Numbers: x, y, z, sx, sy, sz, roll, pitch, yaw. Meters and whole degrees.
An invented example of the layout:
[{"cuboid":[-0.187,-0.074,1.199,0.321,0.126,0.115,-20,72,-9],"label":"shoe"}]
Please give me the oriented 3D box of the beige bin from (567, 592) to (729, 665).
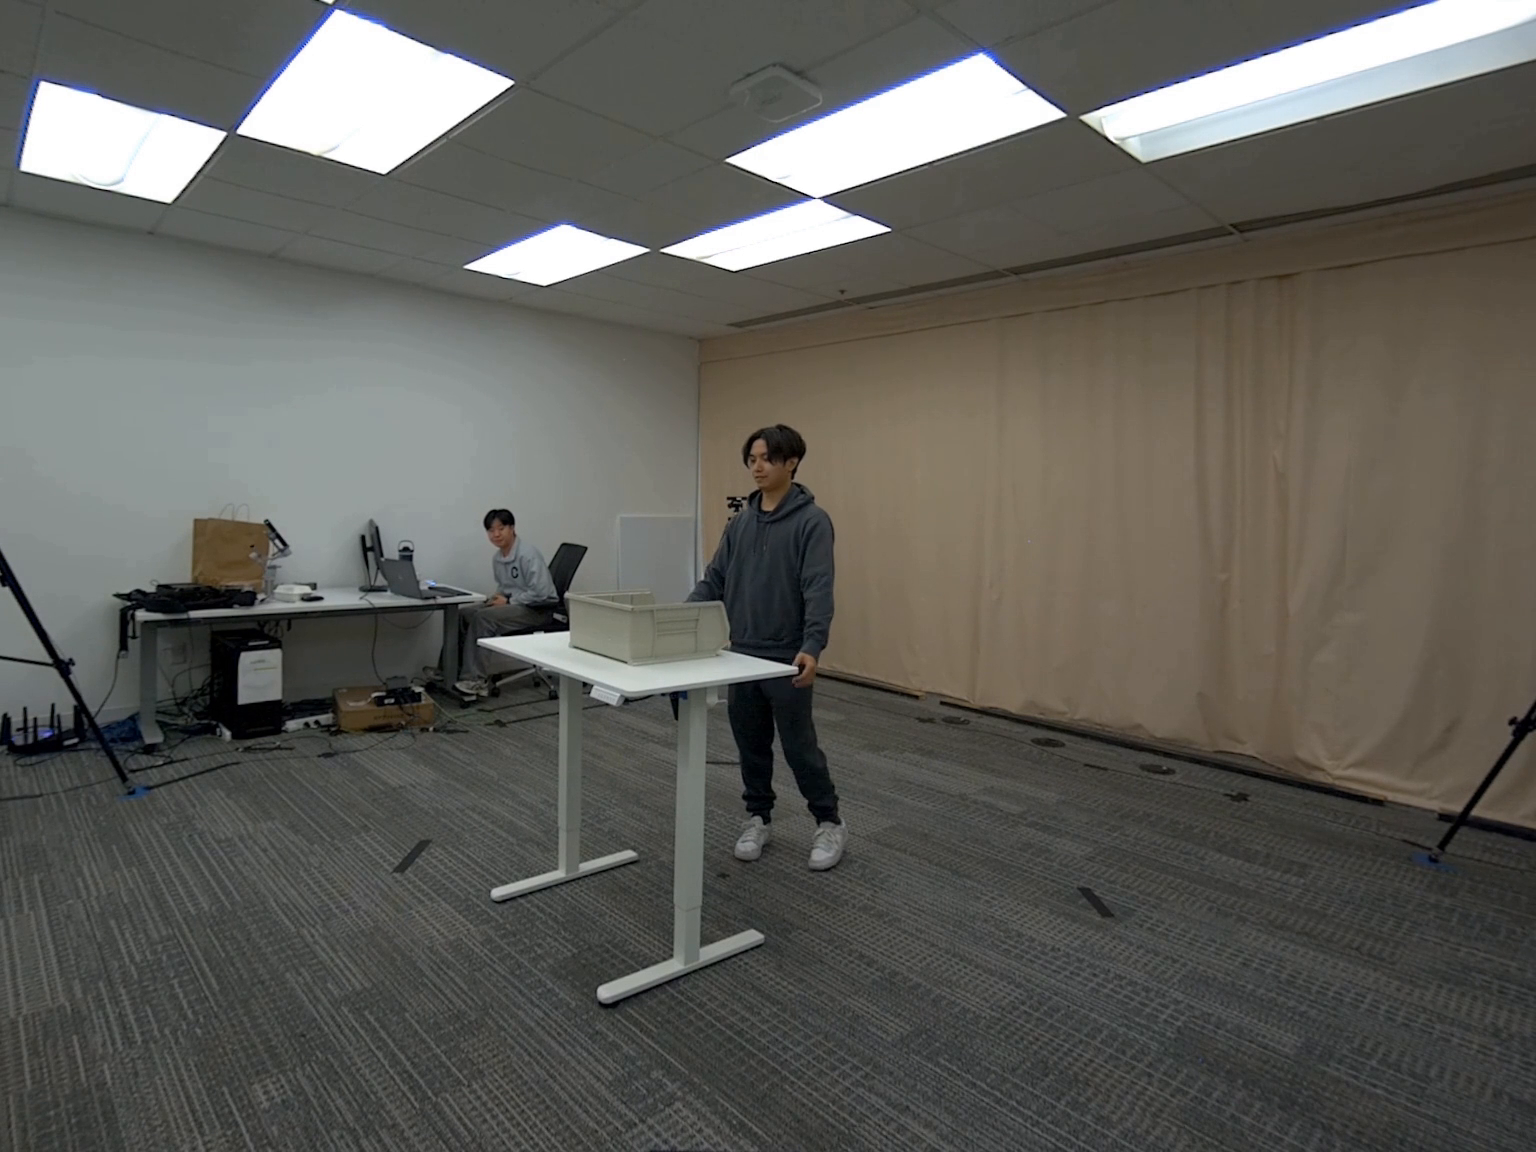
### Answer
[{"cuboid":[-0.408,0.162,2.757,0.369,0.188,0.433,-3,6,-40],"label":"beige bin"}]
